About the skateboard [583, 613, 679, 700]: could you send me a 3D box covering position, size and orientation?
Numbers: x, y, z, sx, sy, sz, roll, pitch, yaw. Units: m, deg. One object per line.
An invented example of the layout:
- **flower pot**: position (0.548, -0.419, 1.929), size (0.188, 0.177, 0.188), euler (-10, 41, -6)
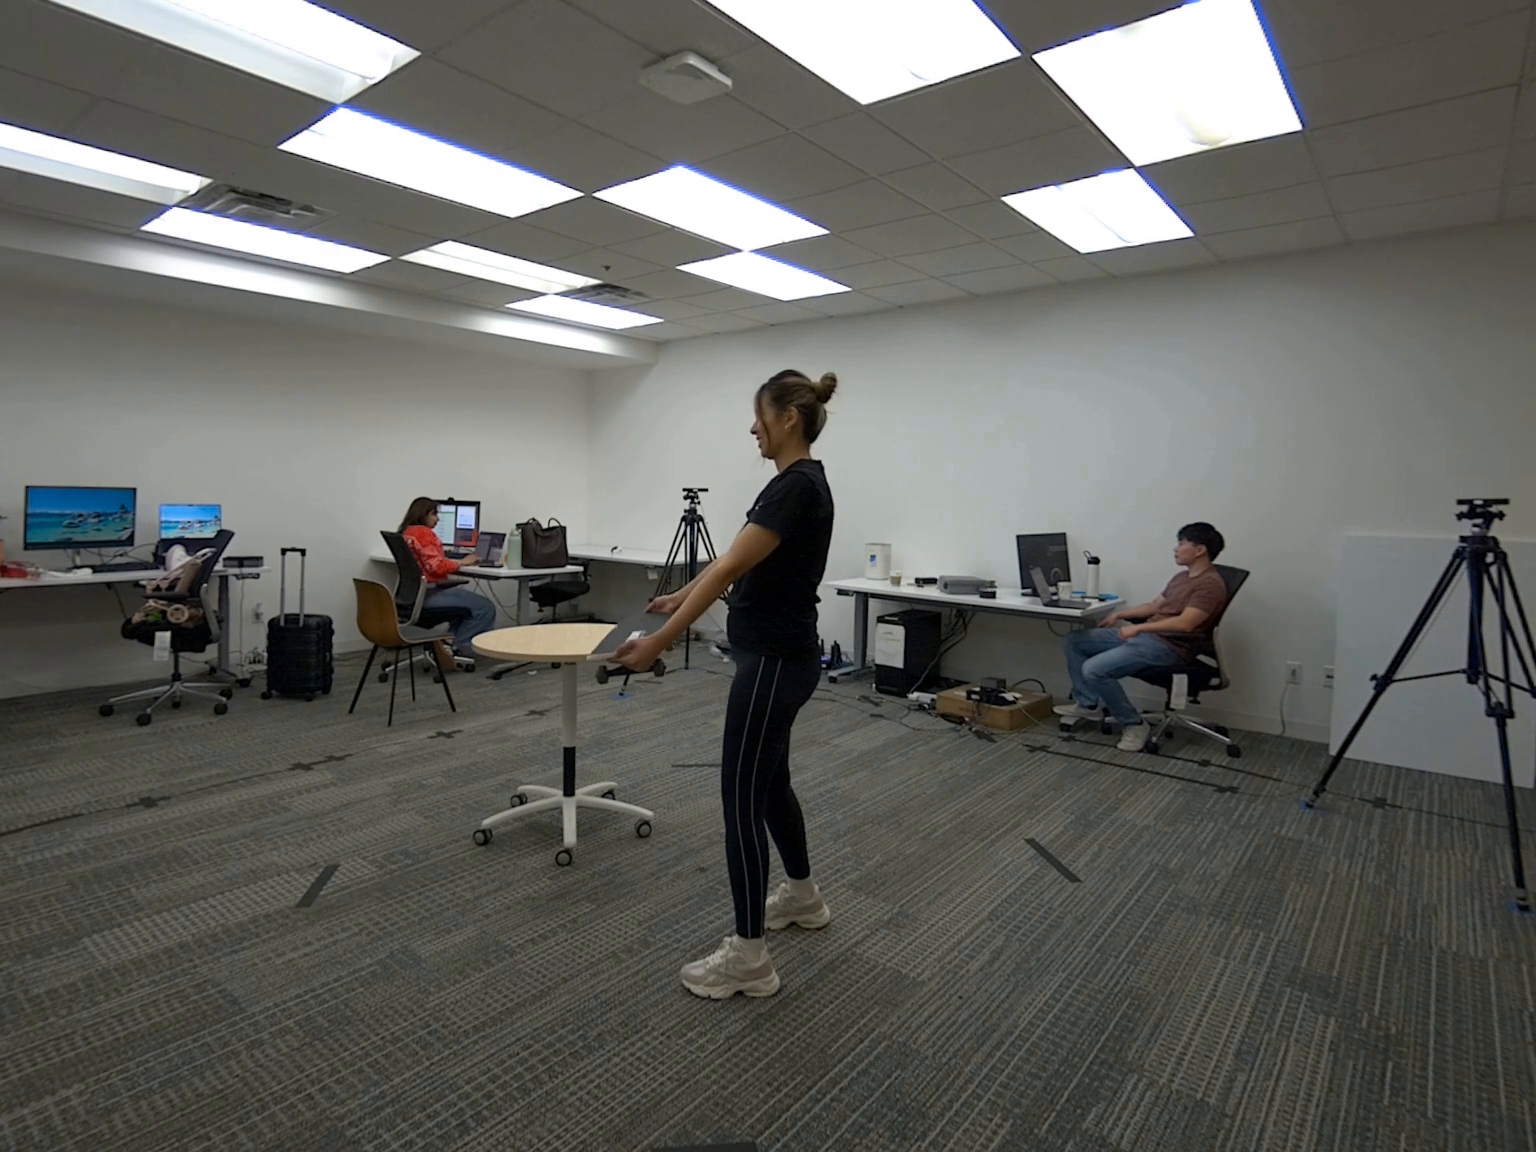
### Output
- **skateboard**: position (-0.382, 0.207, 2.472), size (0.193, 0.110, 0.789), euler (-10, 4, -3)
